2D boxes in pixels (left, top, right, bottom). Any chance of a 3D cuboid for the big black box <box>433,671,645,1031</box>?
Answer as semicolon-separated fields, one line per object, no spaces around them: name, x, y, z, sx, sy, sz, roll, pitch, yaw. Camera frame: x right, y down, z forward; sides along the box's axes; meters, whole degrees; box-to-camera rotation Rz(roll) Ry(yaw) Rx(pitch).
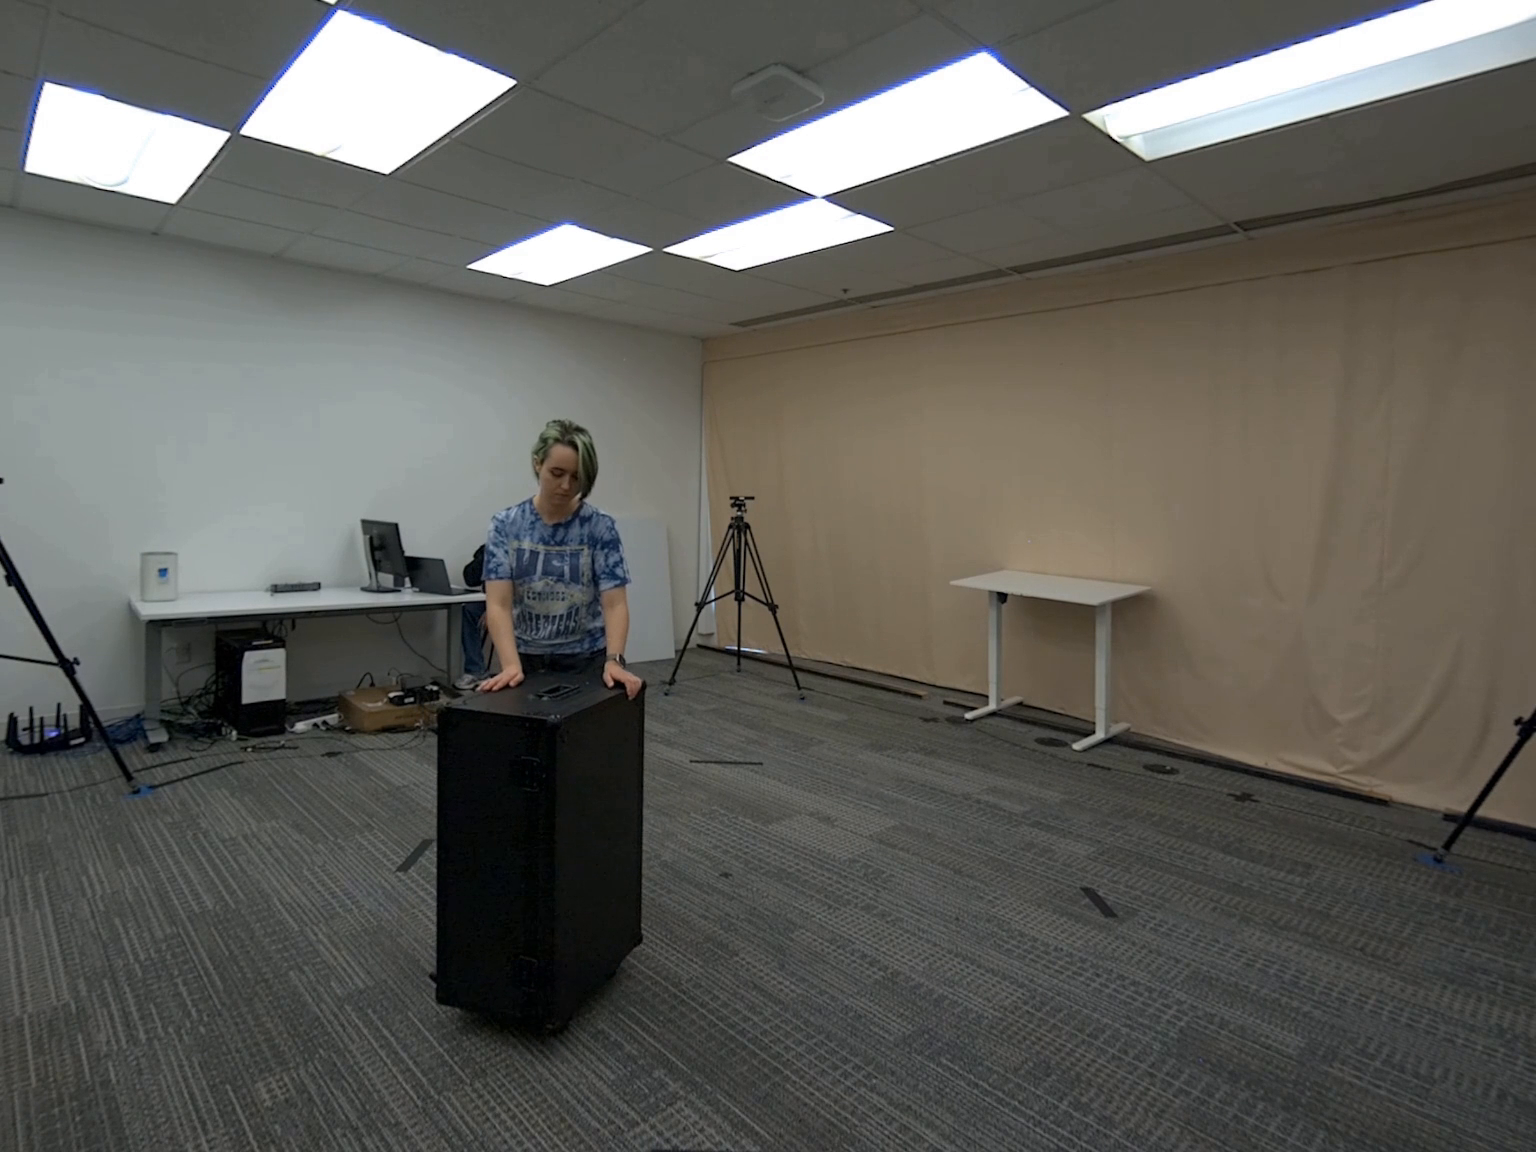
big black box;-0.625;0.744;2.305;0.403;0.859;0.514;2;4;21
